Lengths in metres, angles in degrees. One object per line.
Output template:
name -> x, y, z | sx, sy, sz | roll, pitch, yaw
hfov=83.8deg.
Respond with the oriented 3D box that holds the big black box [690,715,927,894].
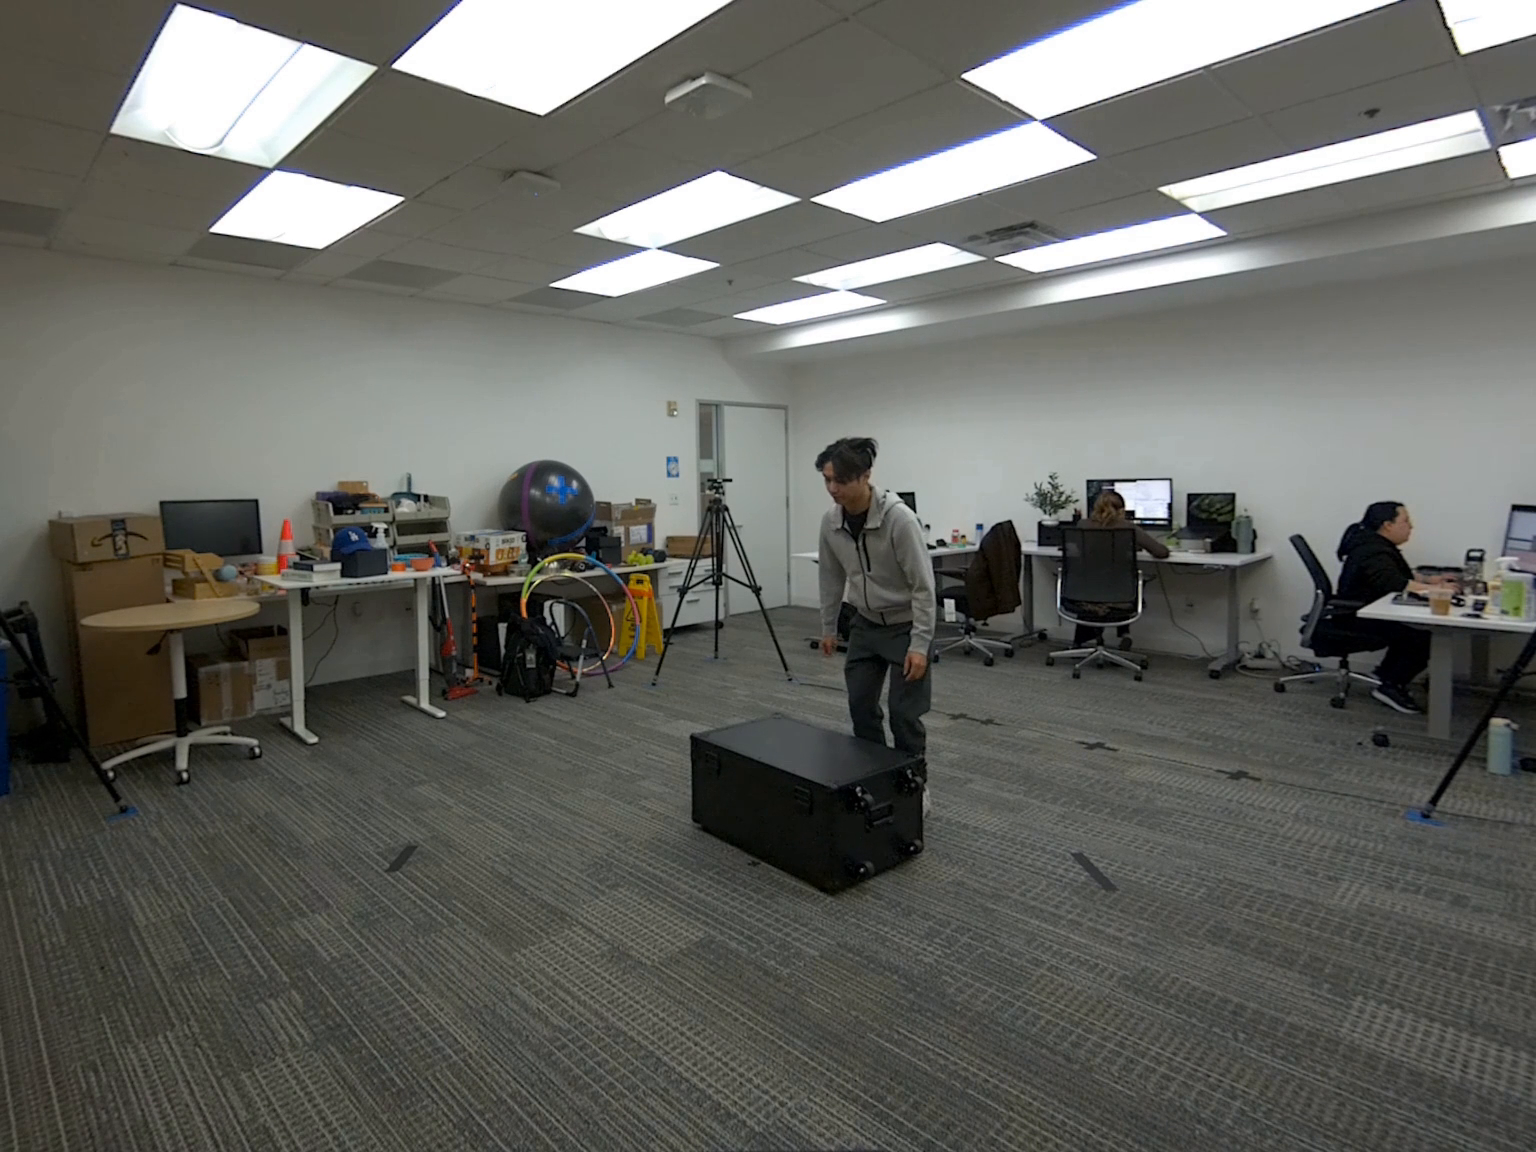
big black box -> 0.148, 0.837, 3.246 | 0.507, 0.395, 0.888 | -5, 7, -41
